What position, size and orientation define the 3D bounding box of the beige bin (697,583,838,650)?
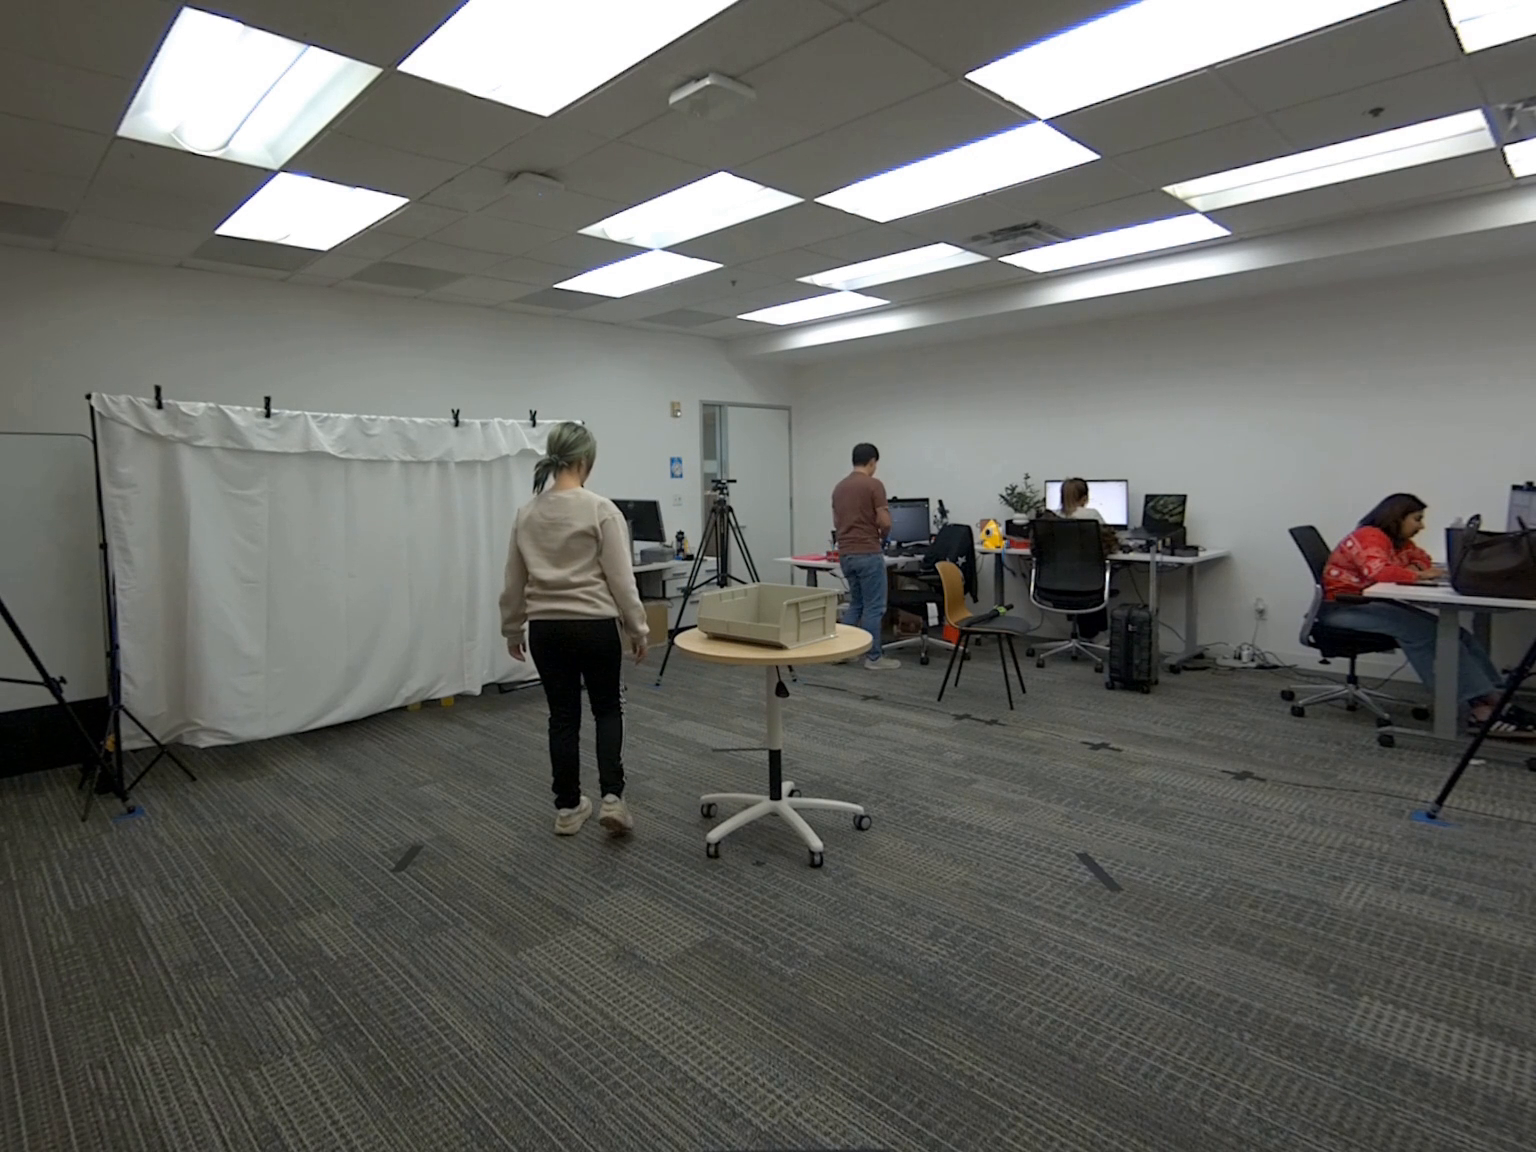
[{"bbox_3d":[0.000,0.150,3.296,0.435,0.188,0.367,4,7,41],"label":"beige bin"}]
